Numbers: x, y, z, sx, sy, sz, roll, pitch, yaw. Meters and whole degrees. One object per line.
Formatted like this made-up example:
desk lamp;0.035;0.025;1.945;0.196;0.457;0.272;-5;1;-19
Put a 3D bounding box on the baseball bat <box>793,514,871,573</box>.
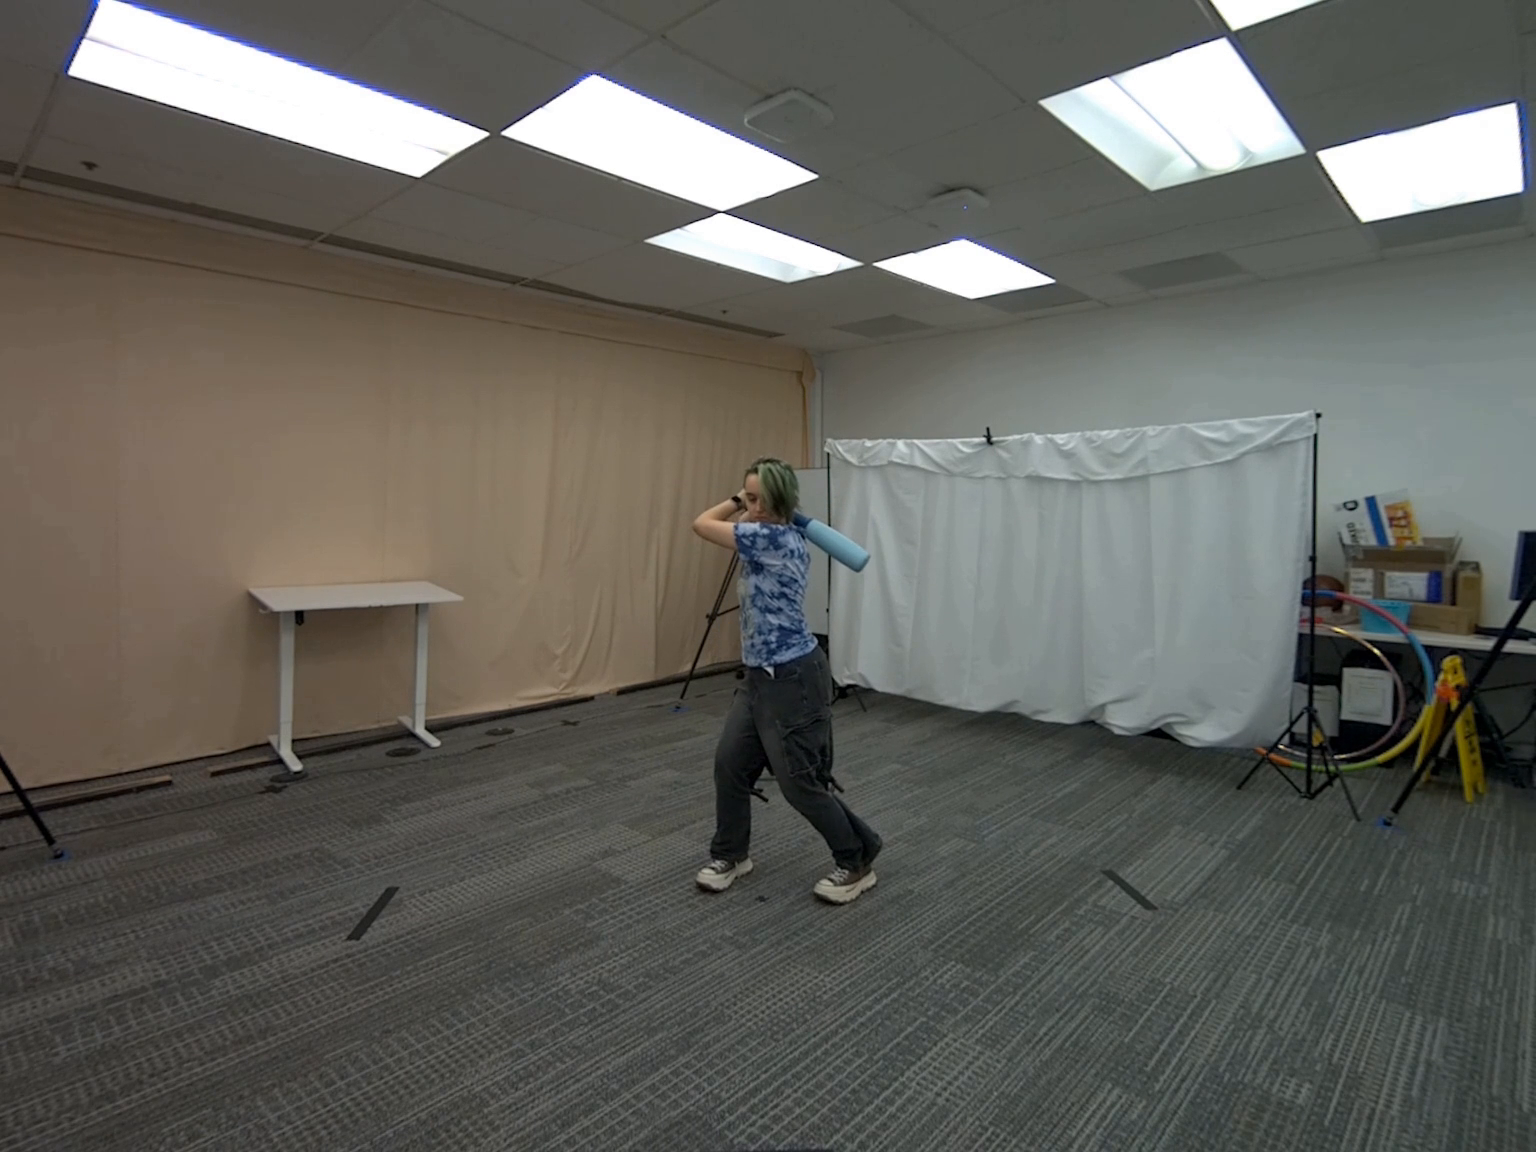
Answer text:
baseball bat;0.140;-0.190;3.099;0.557;0.089;0.087;35;18;22
